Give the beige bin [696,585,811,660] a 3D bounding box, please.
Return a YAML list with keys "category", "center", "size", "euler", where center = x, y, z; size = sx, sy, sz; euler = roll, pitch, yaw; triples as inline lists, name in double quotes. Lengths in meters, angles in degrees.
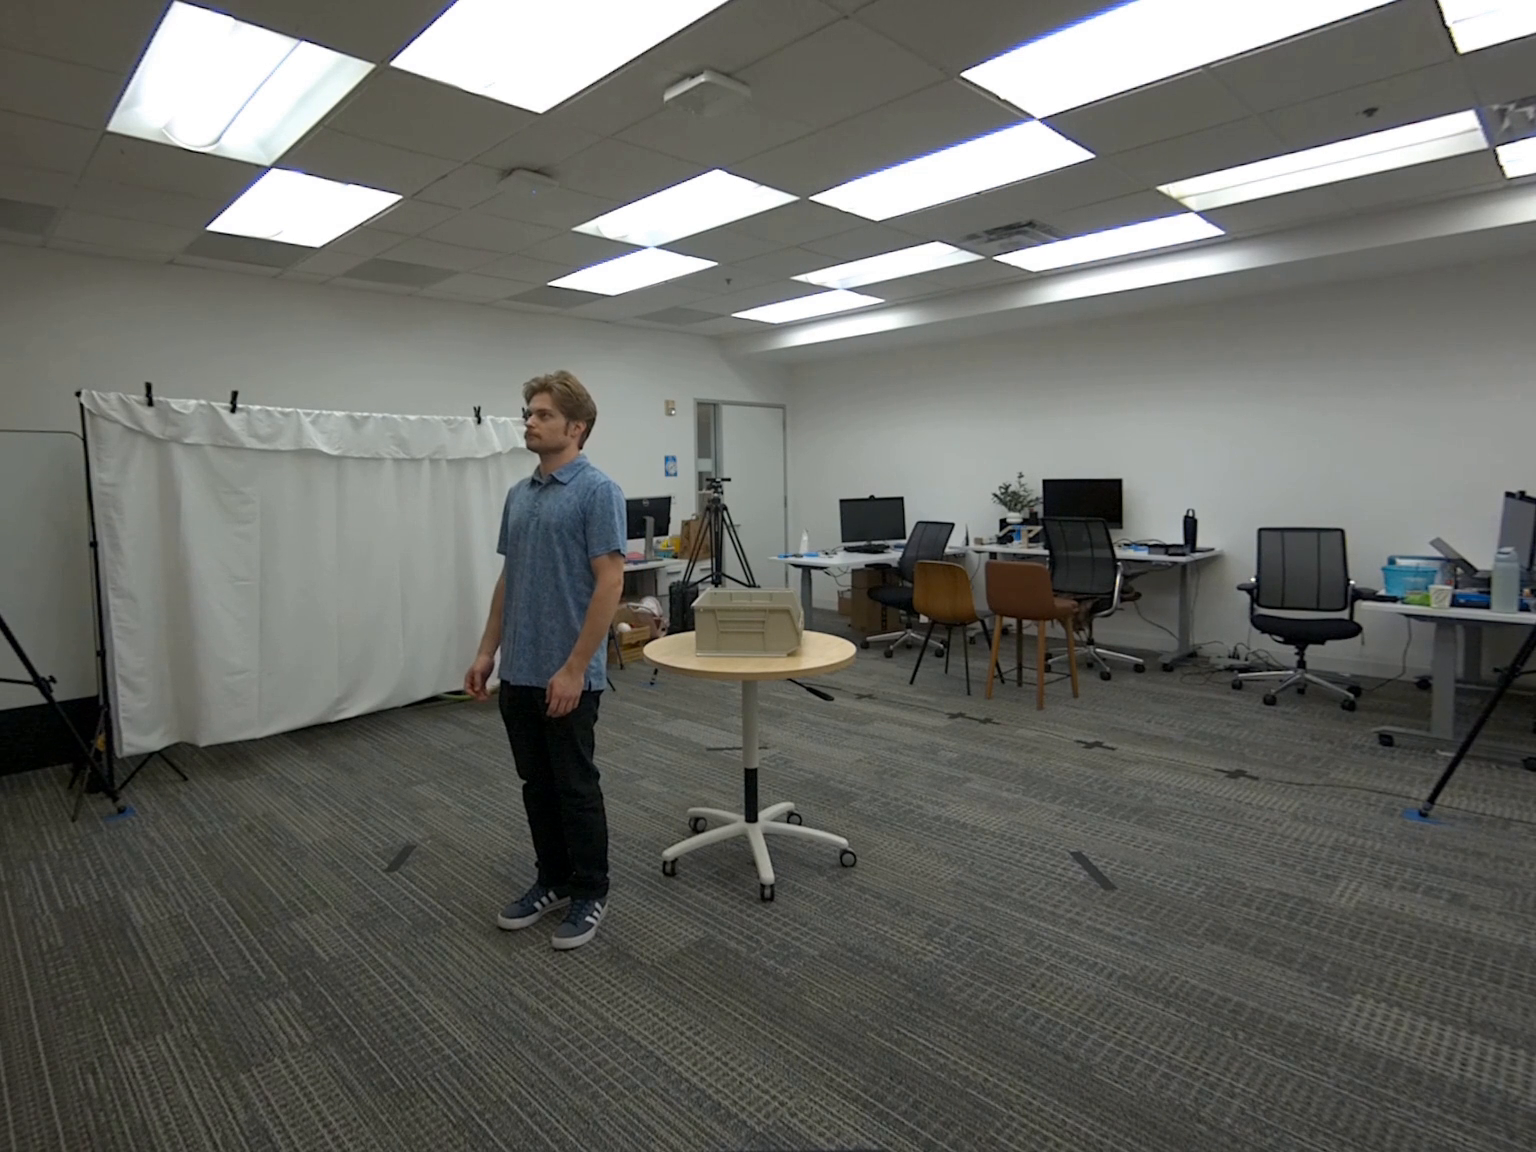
- category: "beige bin"
  center: [-0.043, 0.160, 3.134]
  size: [0.379, 0.188, 0.422]
  euler: [-3, 5, 5]
